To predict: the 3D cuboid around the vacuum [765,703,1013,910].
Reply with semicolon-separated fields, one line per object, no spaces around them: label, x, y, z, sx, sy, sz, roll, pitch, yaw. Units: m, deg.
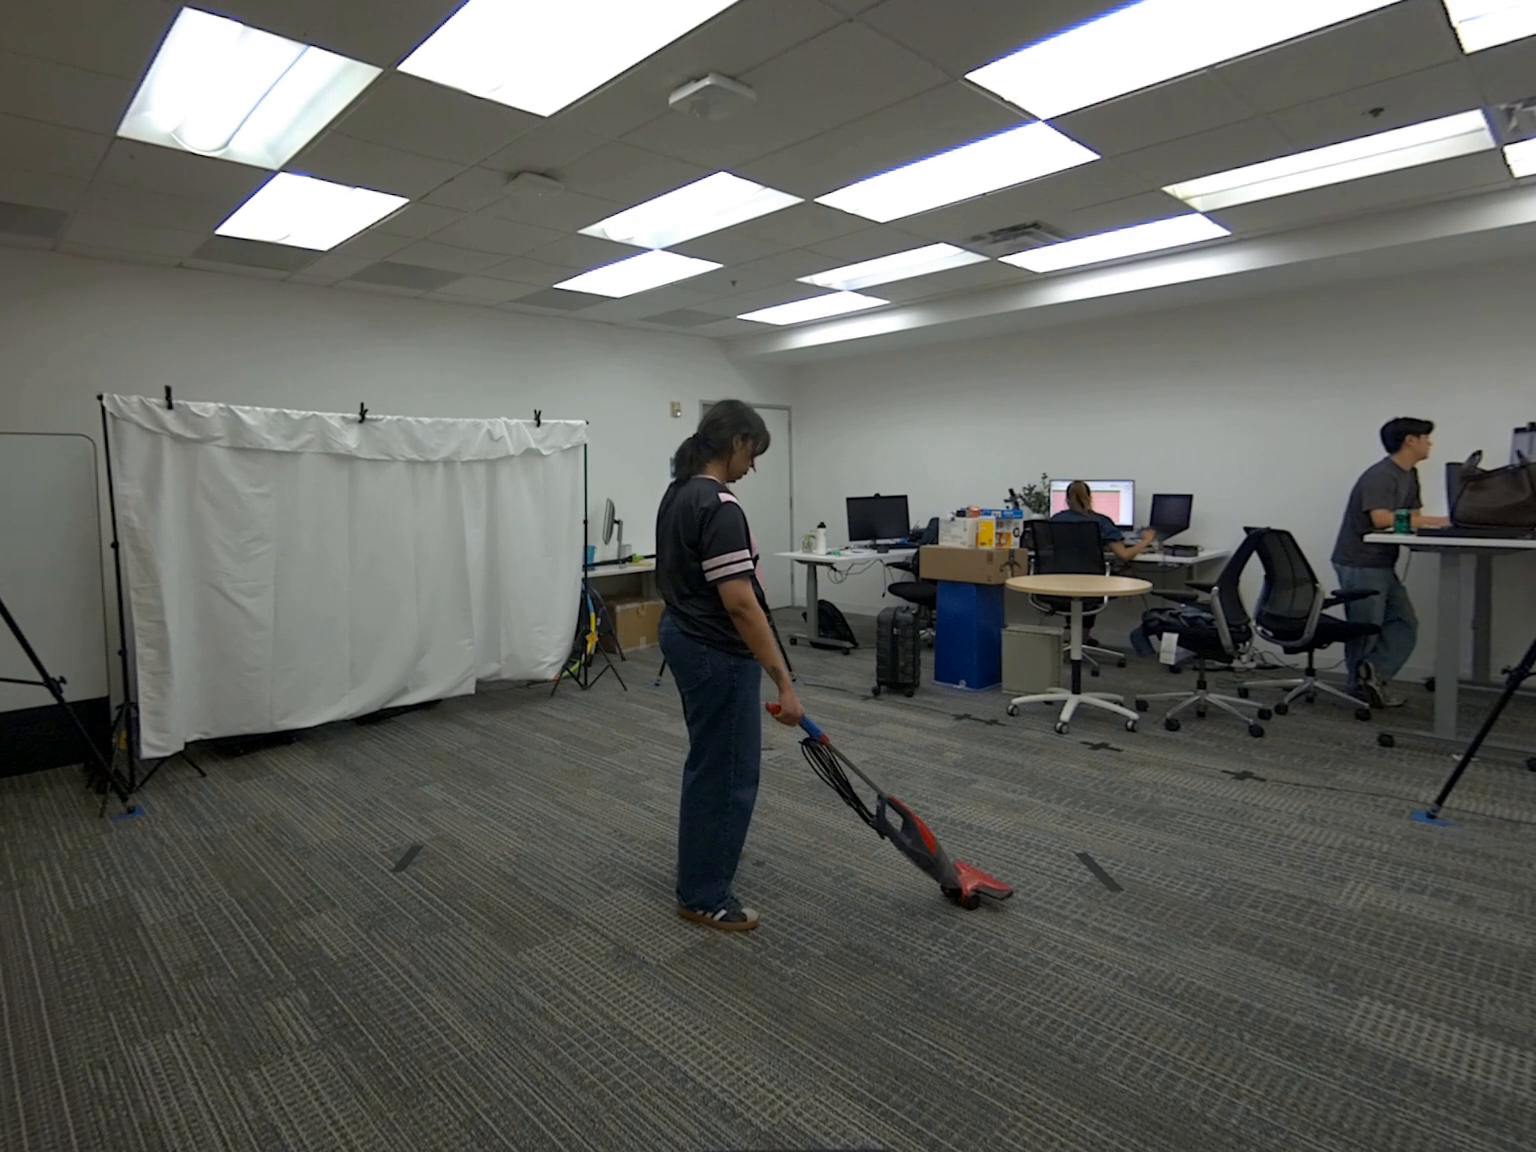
vacuum;0.333;0.708;2.641;1.021;0.144;0.259;43;-18;-22
